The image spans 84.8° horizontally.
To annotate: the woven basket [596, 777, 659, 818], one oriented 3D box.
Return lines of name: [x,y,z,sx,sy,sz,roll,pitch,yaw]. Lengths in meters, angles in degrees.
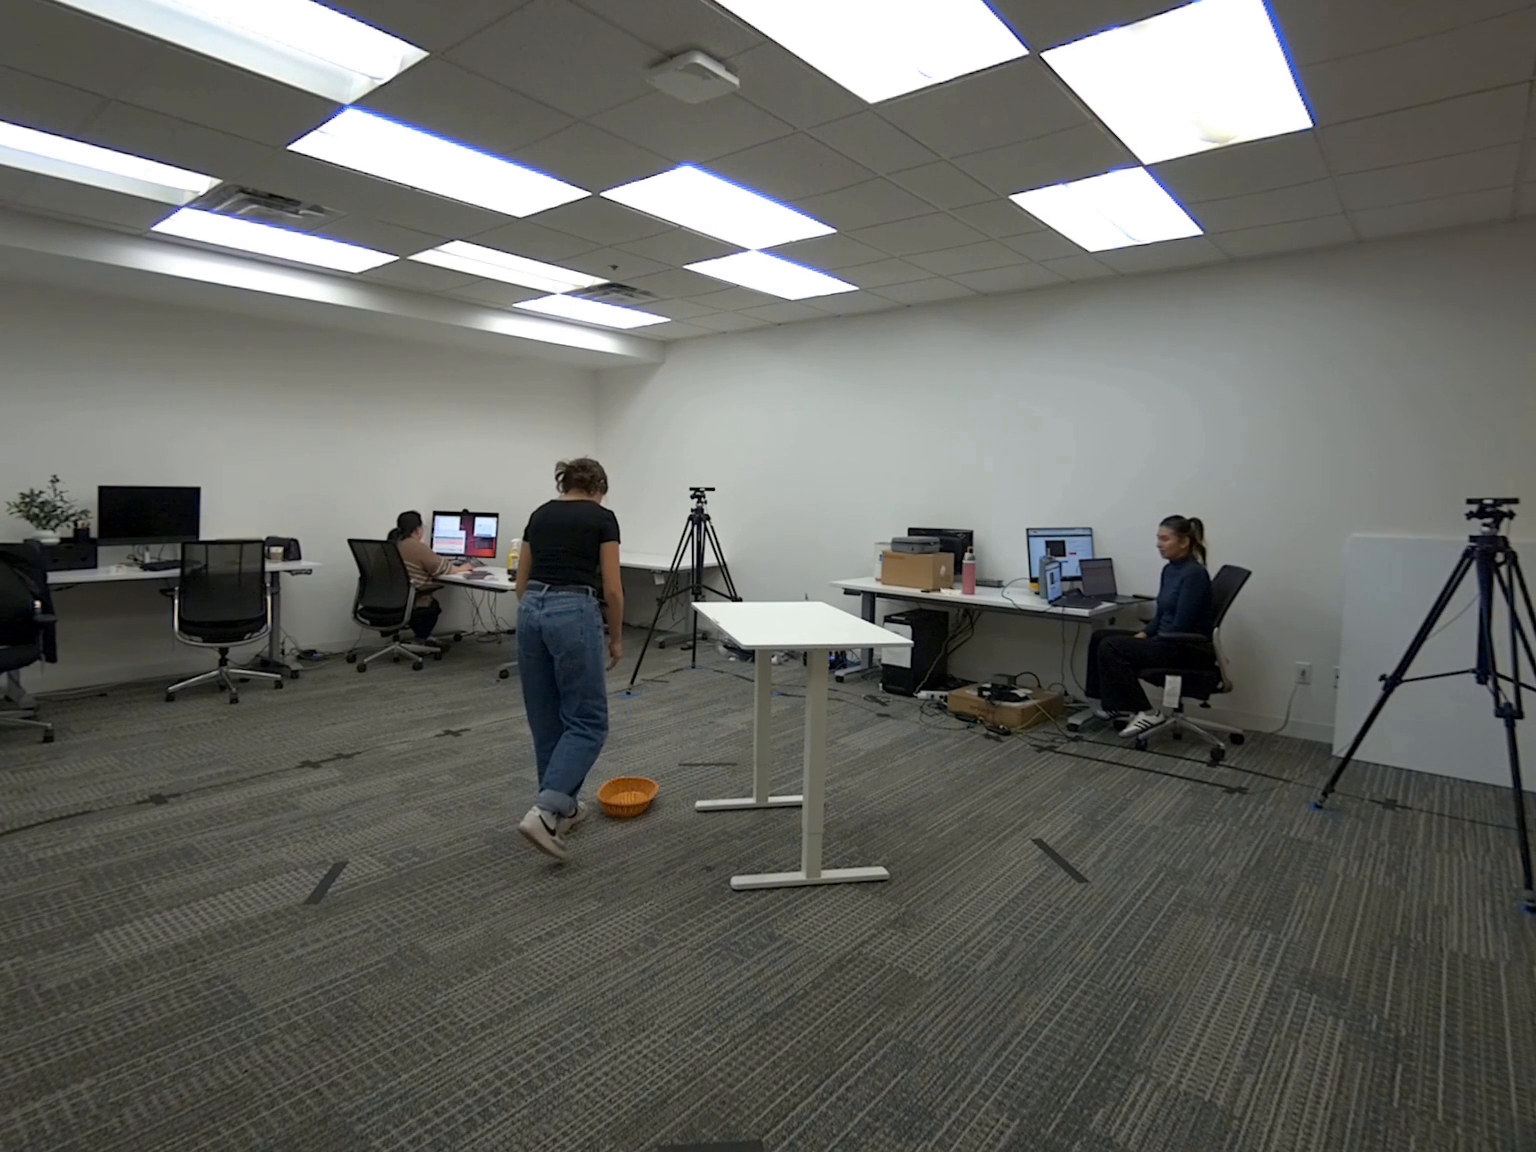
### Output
woven basket: [-0.626,0.961,3.710,0.256,0.073,0.346,3,5,12]
